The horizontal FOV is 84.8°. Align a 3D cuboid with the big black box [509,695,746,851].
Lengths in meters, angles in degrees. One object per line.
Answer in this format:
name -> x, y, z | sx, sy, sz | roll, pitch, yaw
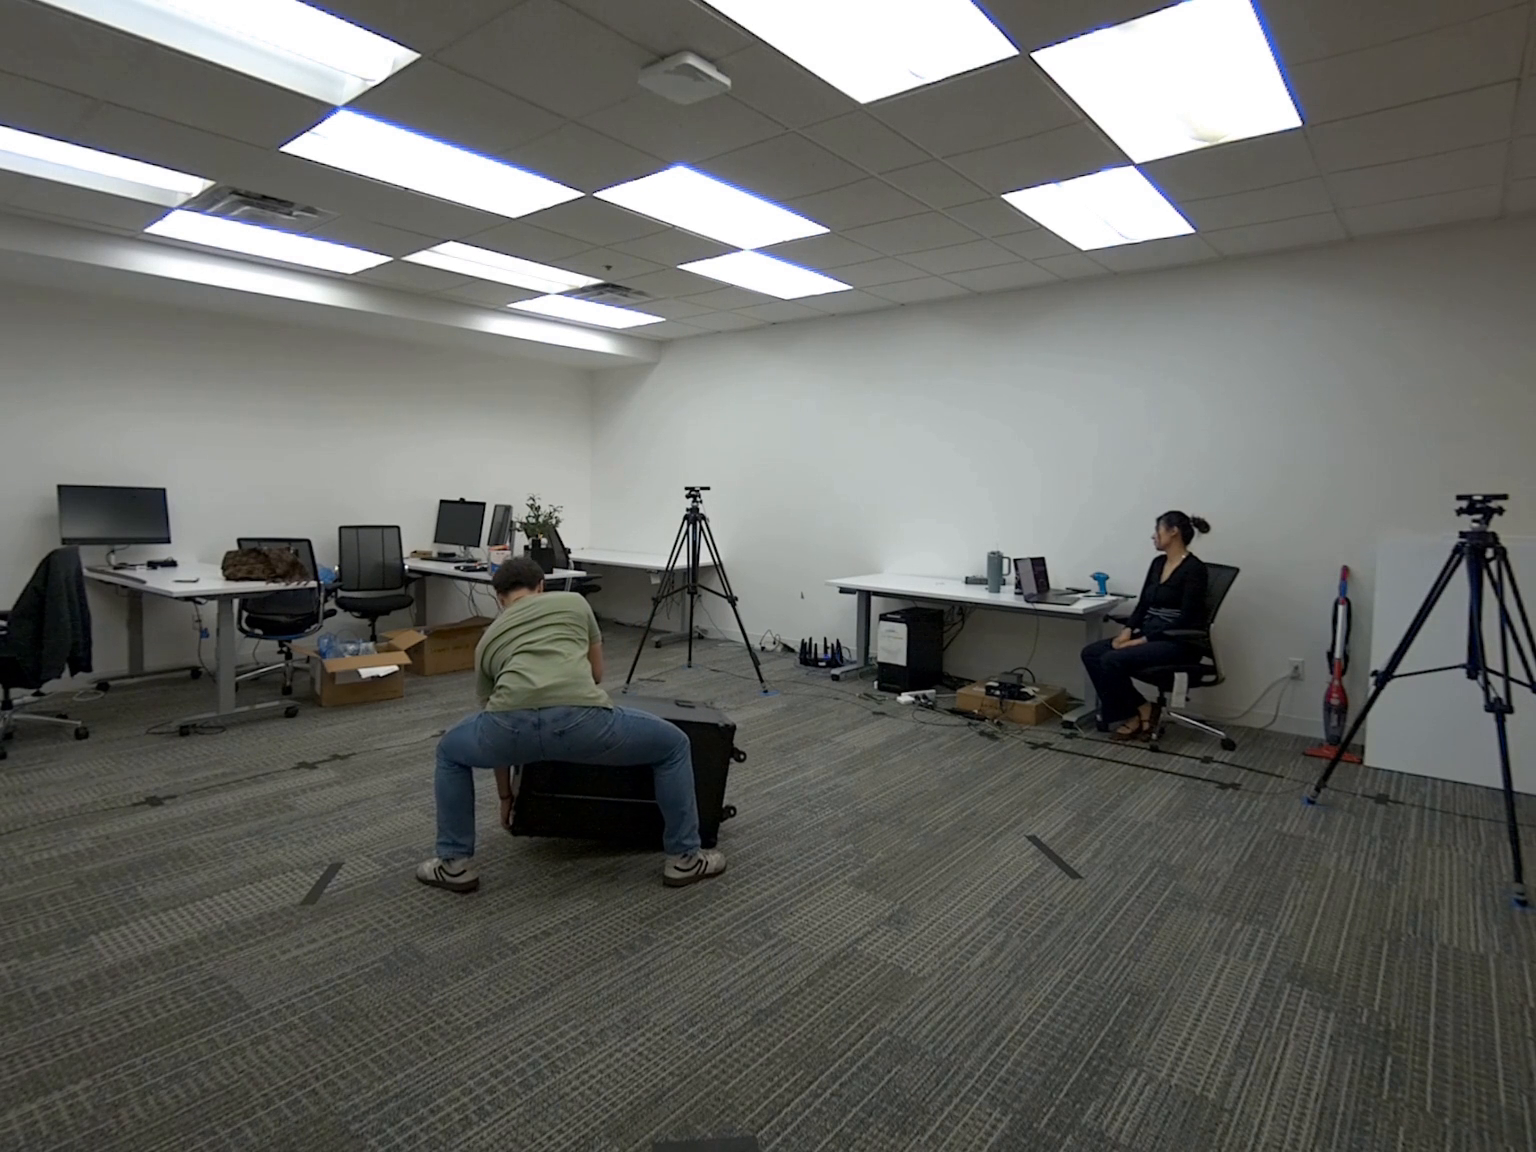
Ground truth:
big black box -> -0.553, 0.734, 3.343 | 0.845, 0.521, 0.404 | 8, 2, -17
